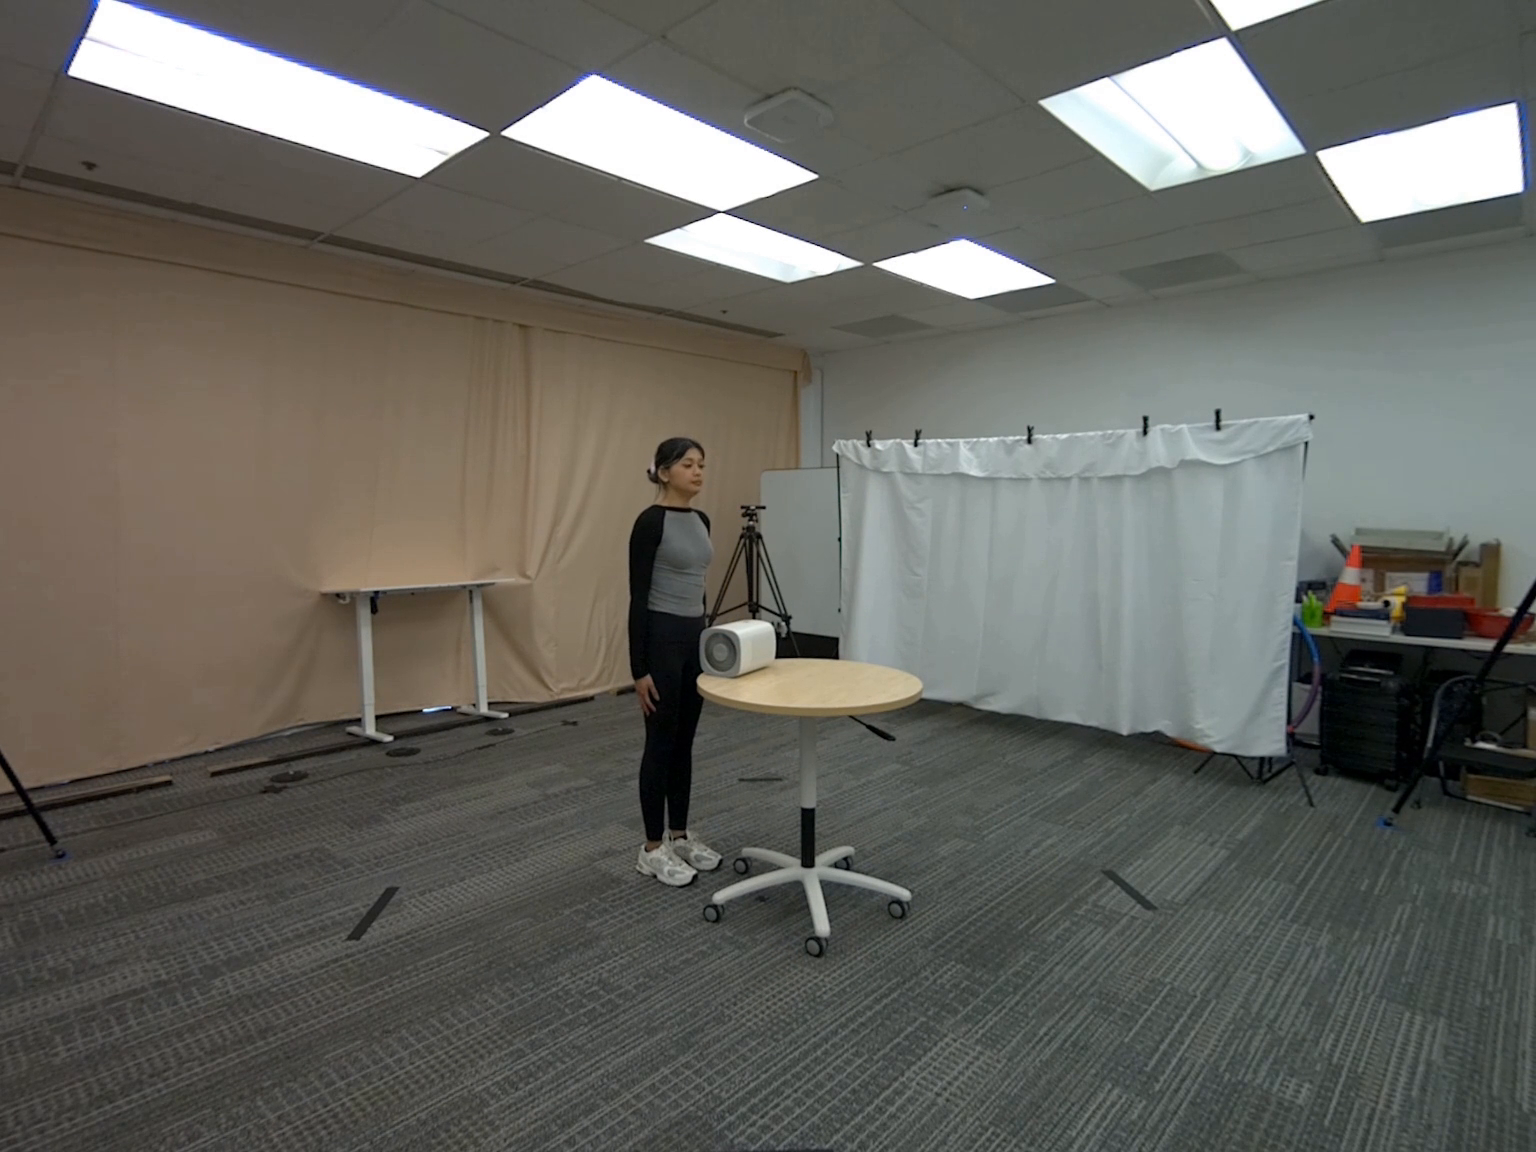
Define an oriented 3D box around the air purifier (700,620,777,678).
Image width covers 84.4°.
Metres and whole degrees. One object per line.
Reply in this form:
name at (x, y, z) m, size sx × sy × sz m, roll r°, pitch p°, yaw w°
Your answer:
air purifier at (-0.097, 0.257, 3.042) m, size 0.176 × 0.171 × 0.258 m, roll 1°, pitch 4°, yaw 31°
